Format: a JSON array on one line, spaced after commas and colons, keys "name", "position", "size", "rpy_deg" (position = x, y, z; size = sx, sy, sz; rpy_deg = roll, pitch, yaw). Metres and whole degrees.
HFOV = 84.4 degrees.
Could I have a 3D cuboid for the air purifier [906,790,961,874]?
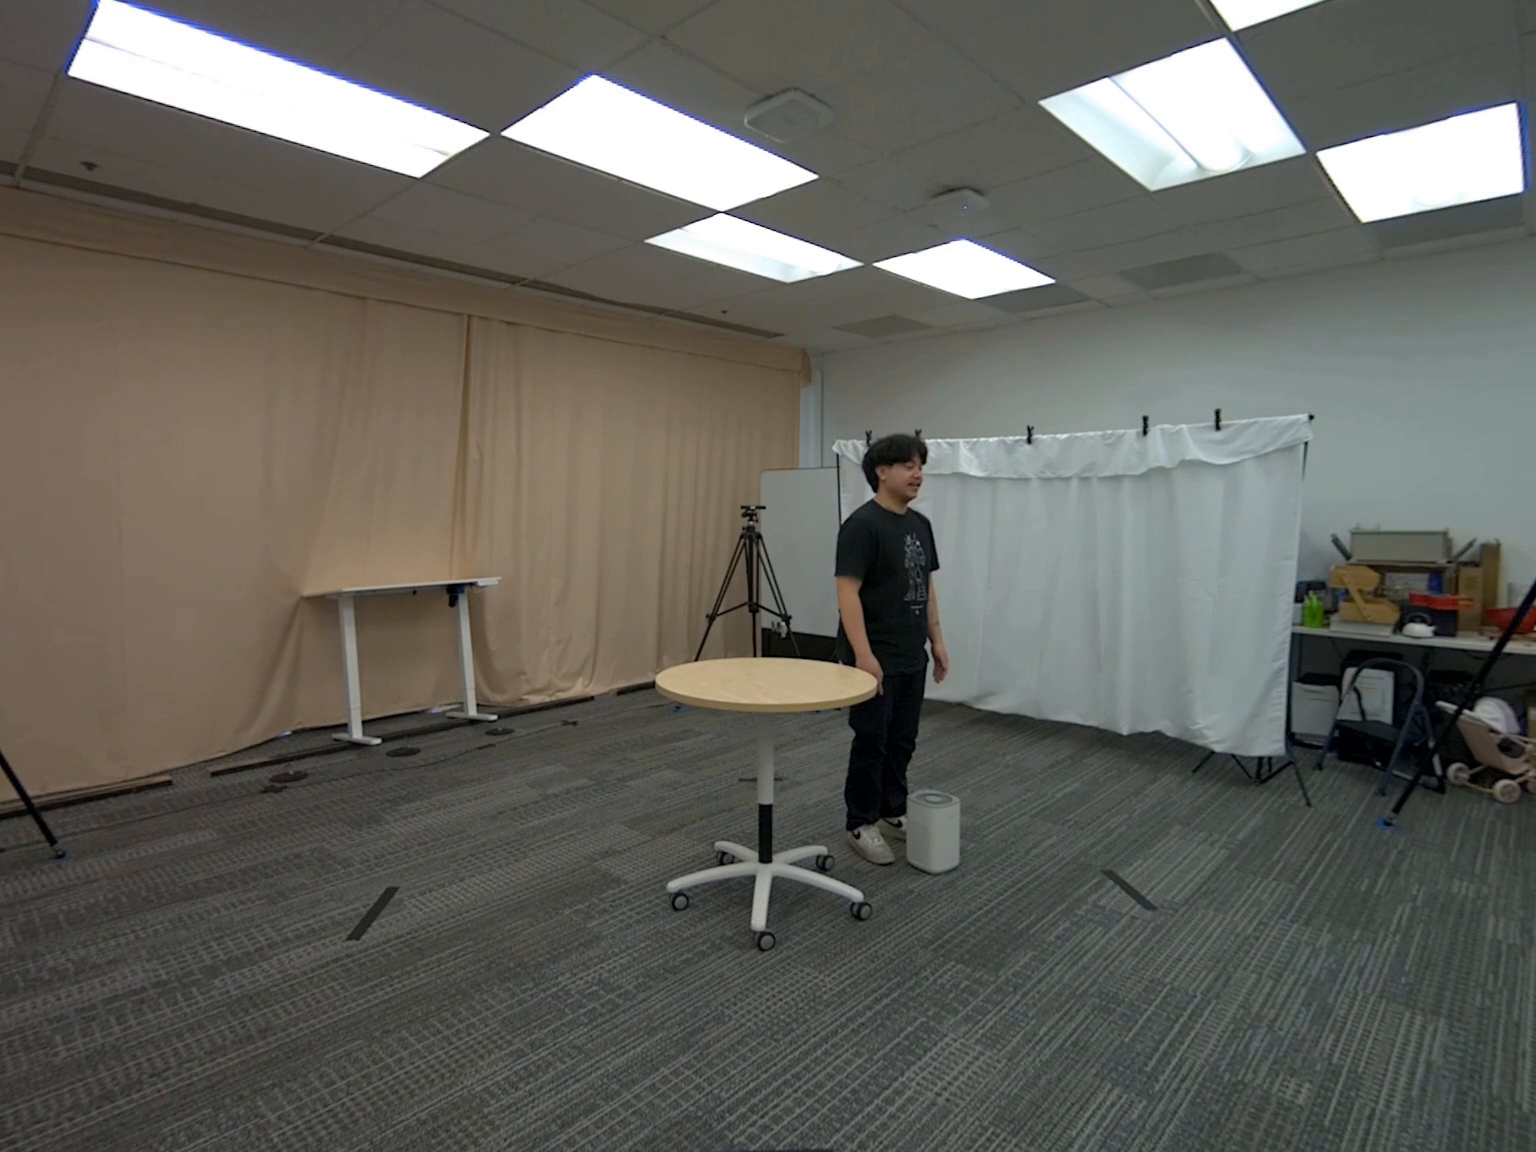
[{"name": "air purifier", "position": [0.643, 0.987, 3.246], "size": [0.166, 0.264, 0.177], "rpy_deg": [-3, 6, -38]}]
